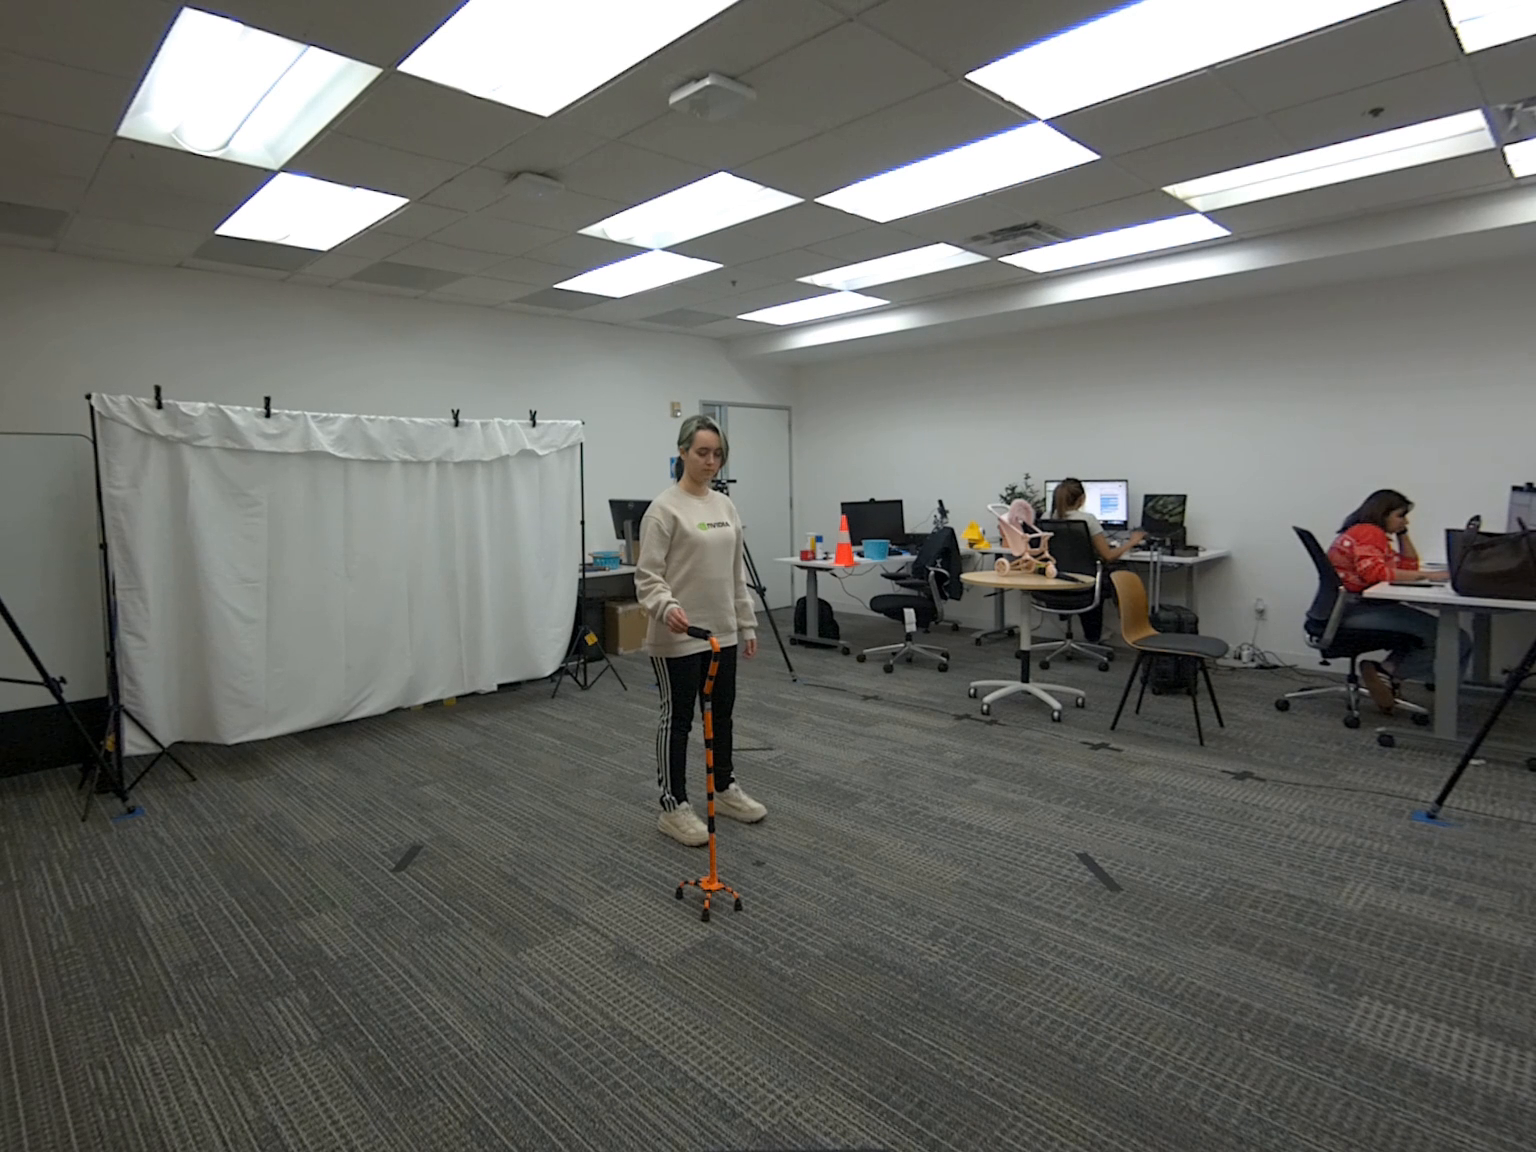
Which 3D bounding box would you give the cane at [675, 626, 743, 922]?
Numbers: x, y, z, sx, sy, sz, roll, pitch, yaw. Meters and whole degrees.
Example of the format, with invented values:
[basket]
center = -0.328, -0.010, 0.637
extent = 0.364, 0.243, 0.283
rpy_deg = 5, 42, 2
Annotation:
[cane]
center = -0.203, 0.632, 2.798
extent = 0.148, 0.905, 0.212
rpy_deg = -4, 4, -34
